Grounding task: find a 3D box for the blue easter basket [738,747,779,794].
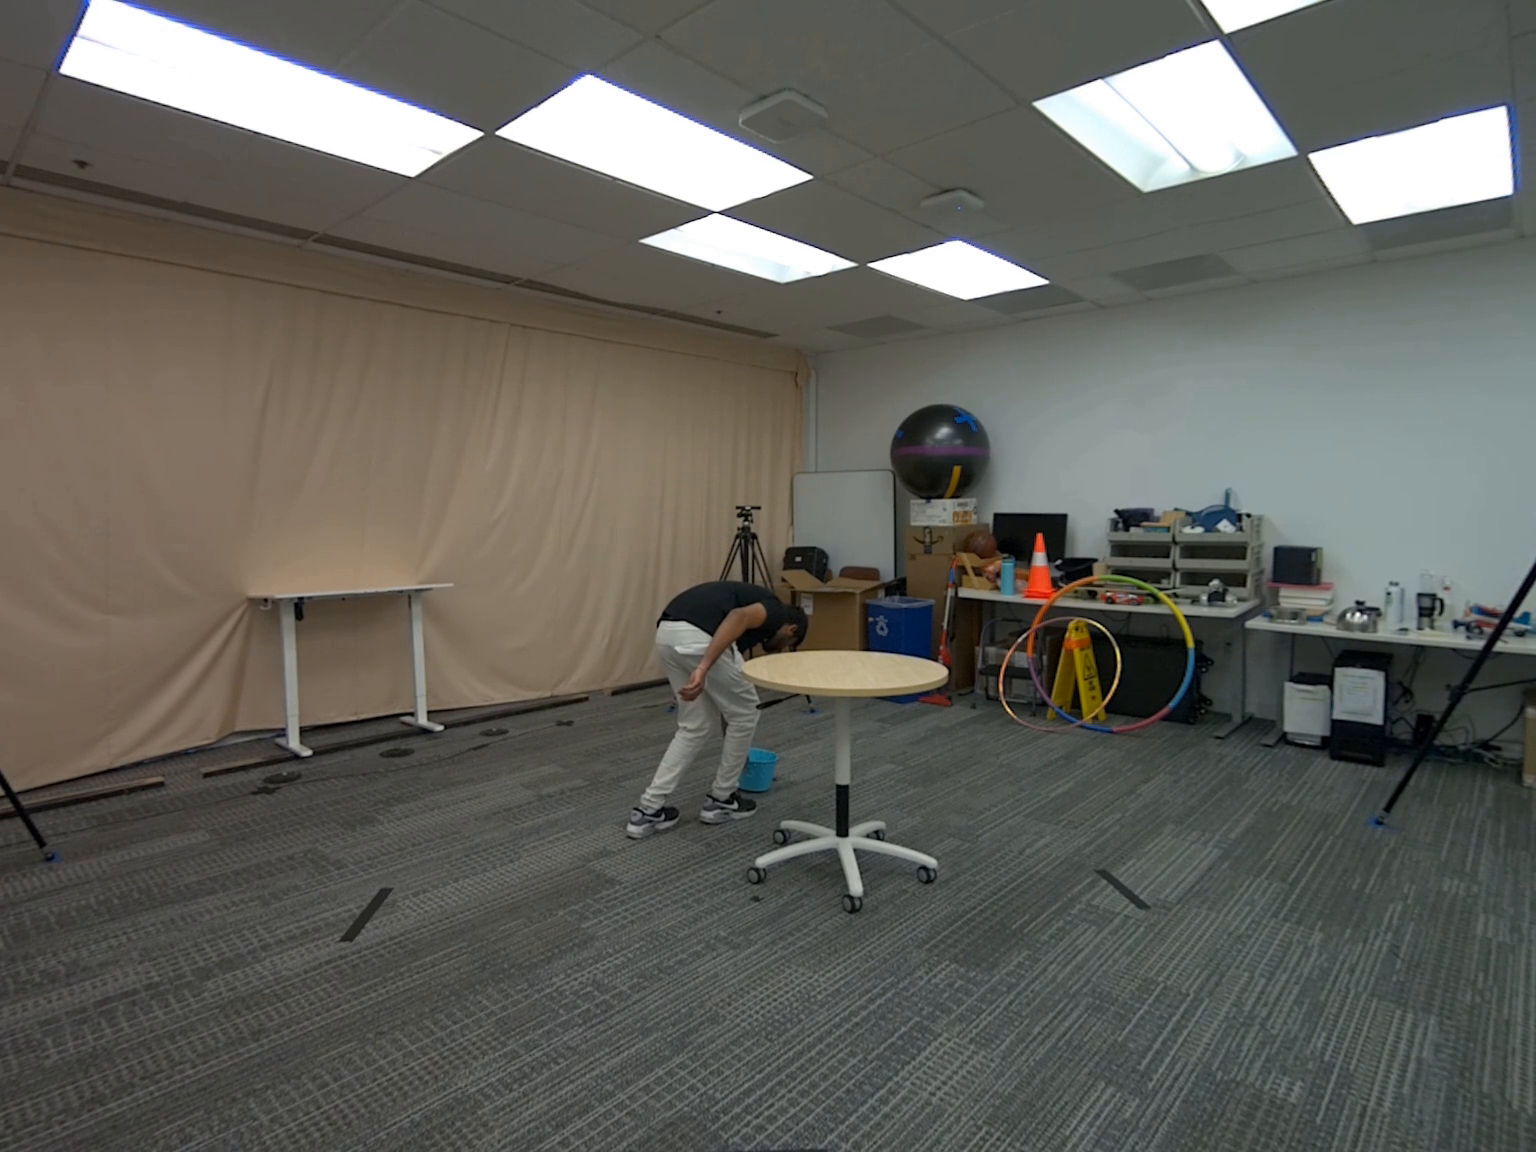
[{"bbox_3d":[-0.067,0.957,4.178,0.243,0.155,0.244,3,3,-2],"label":"blue easter basket"}]
